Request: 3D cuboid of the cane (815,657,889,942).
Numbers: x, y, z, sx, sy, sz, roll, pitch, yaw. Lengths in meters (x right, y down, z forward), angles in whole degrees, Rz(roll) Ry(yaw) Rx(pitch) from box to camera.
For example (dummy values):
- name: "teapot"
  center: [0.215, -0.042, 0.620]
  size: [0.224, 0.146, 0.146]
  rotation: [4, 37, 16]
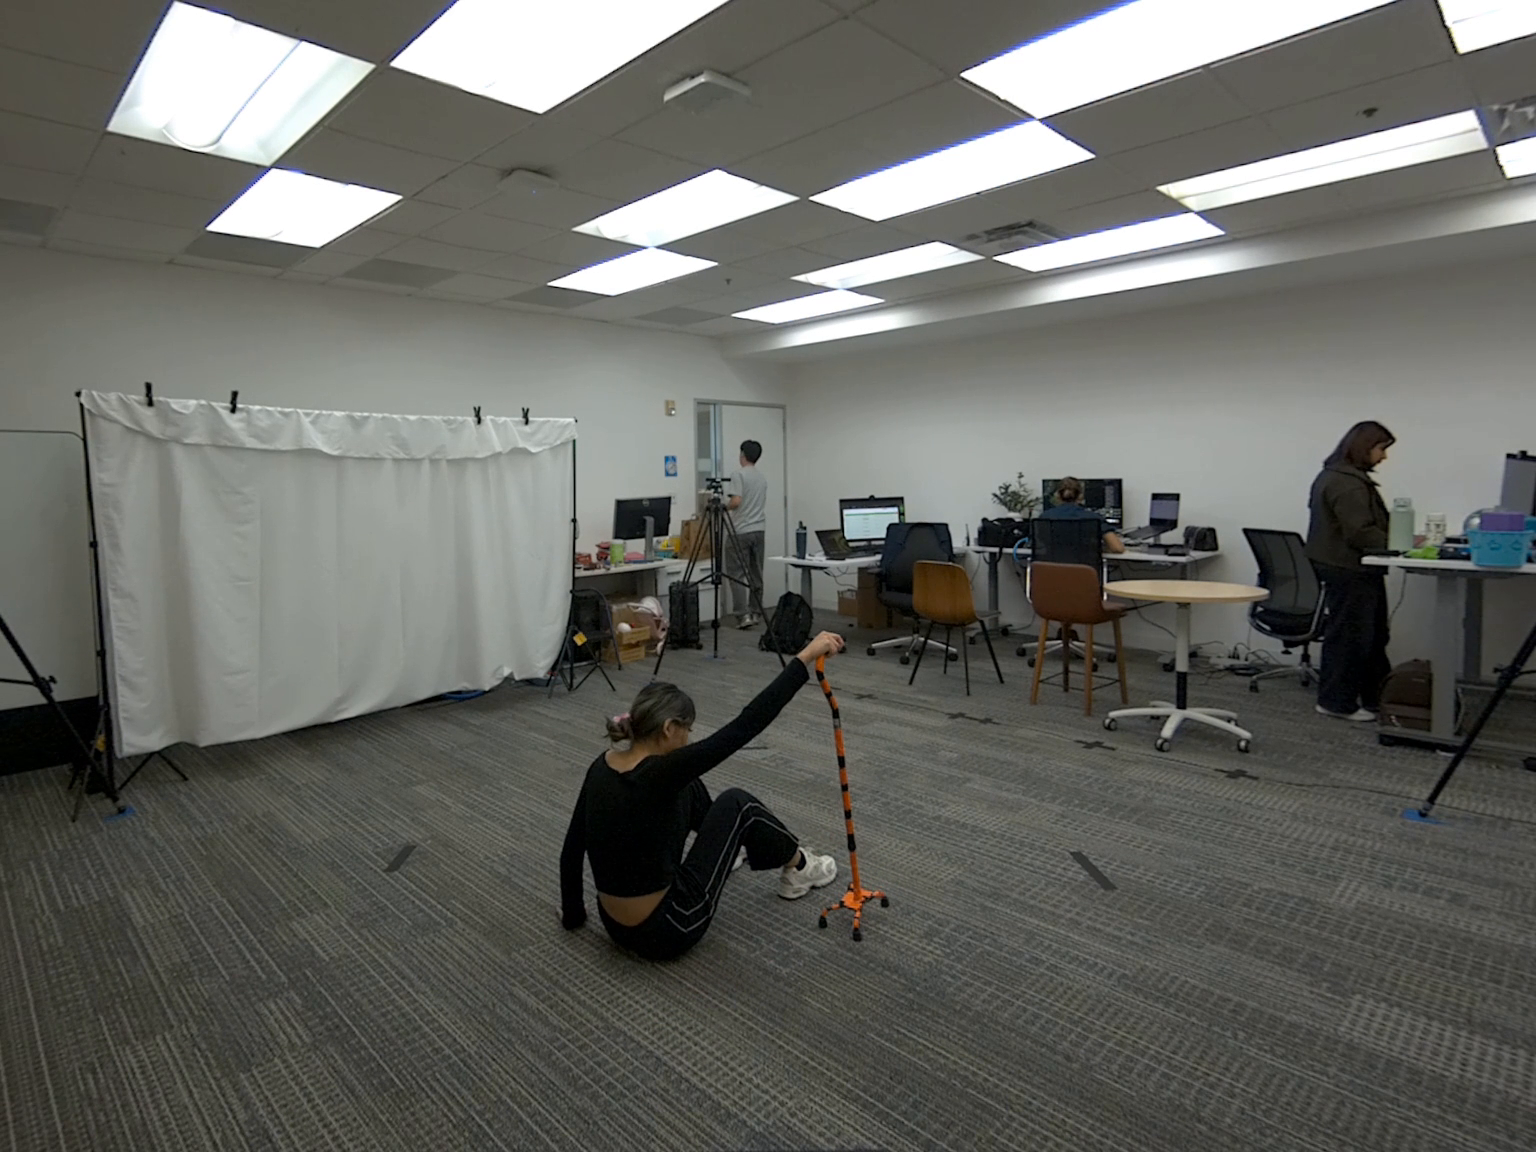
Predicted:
- name: "cane"
  center: [0.213, 0.624, 2.605]
  size: [0.156, 0.898, 0.203]
  rotation: [1, 14, 38]
